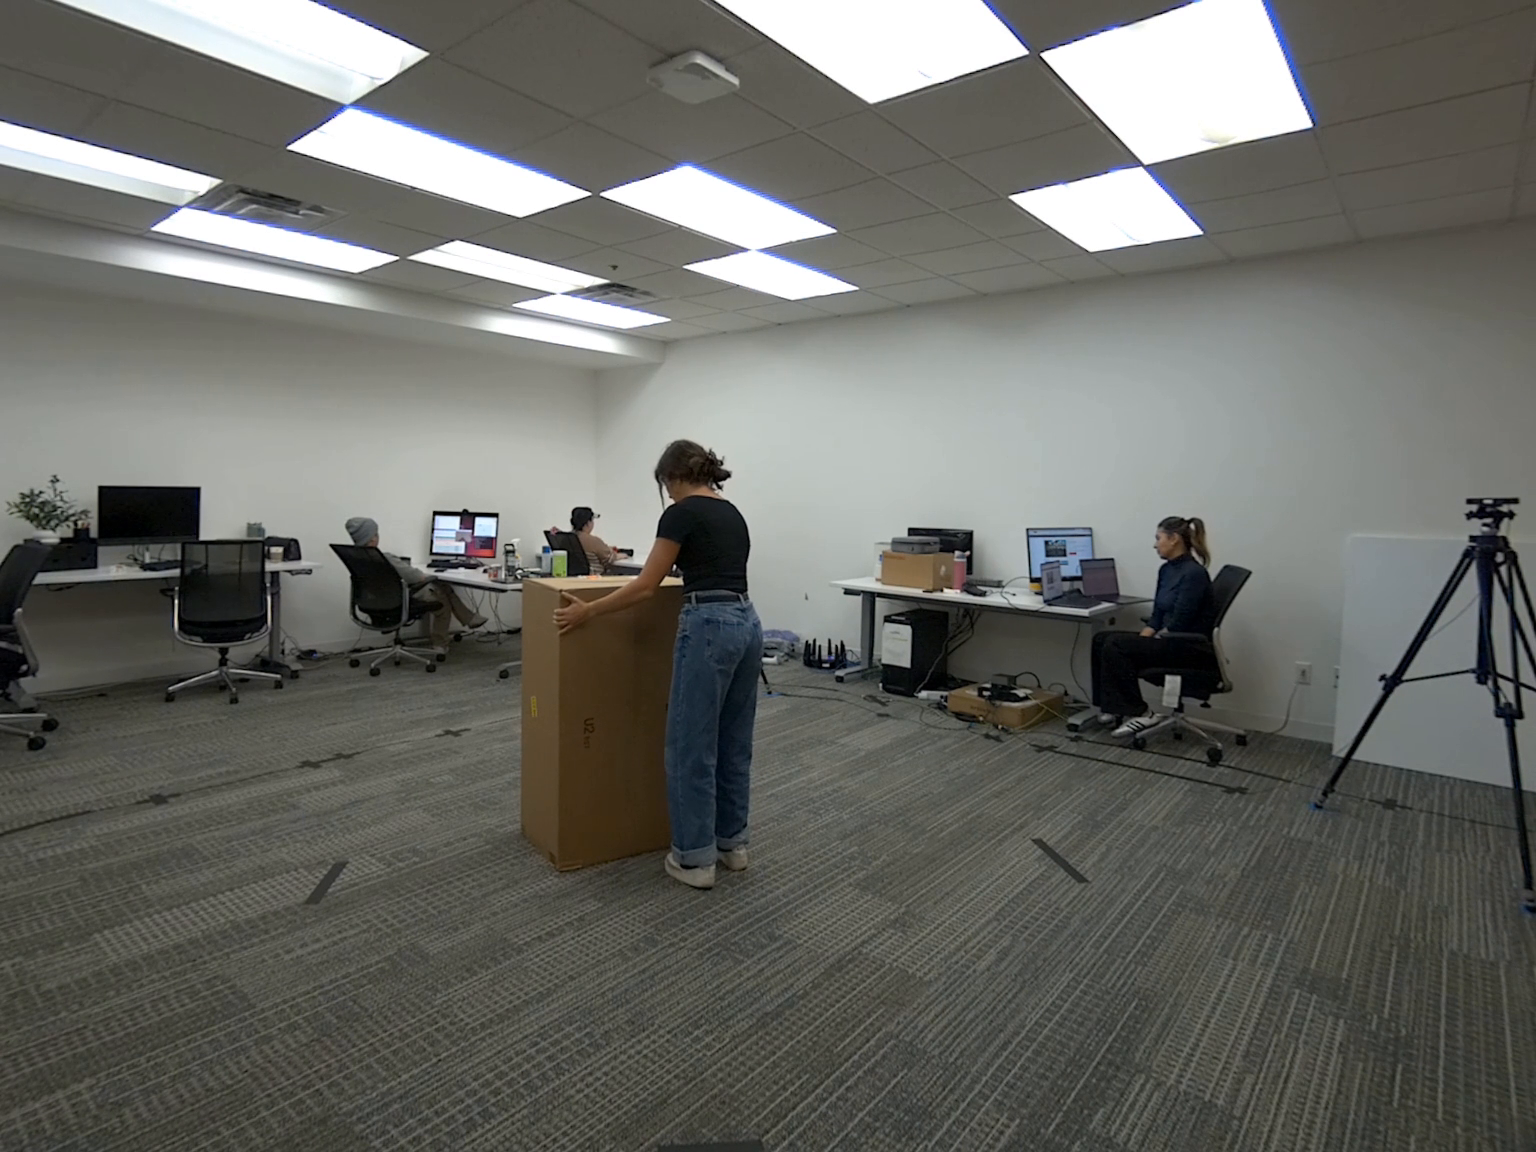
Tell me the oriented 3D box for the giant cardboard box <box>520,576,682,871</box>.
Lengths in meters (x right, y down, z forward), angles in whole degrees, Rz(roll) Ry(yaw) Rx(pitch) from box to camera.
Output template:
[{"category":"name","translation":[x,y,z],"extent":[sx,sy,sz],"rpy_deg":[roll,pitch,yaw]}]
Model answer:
[{"category":"giant cardboard box","translation":[-0.644,0.531,3.357],"extent":[0.561,1.023,0.439],"rpy_deg":[-1,3,-33]}]
